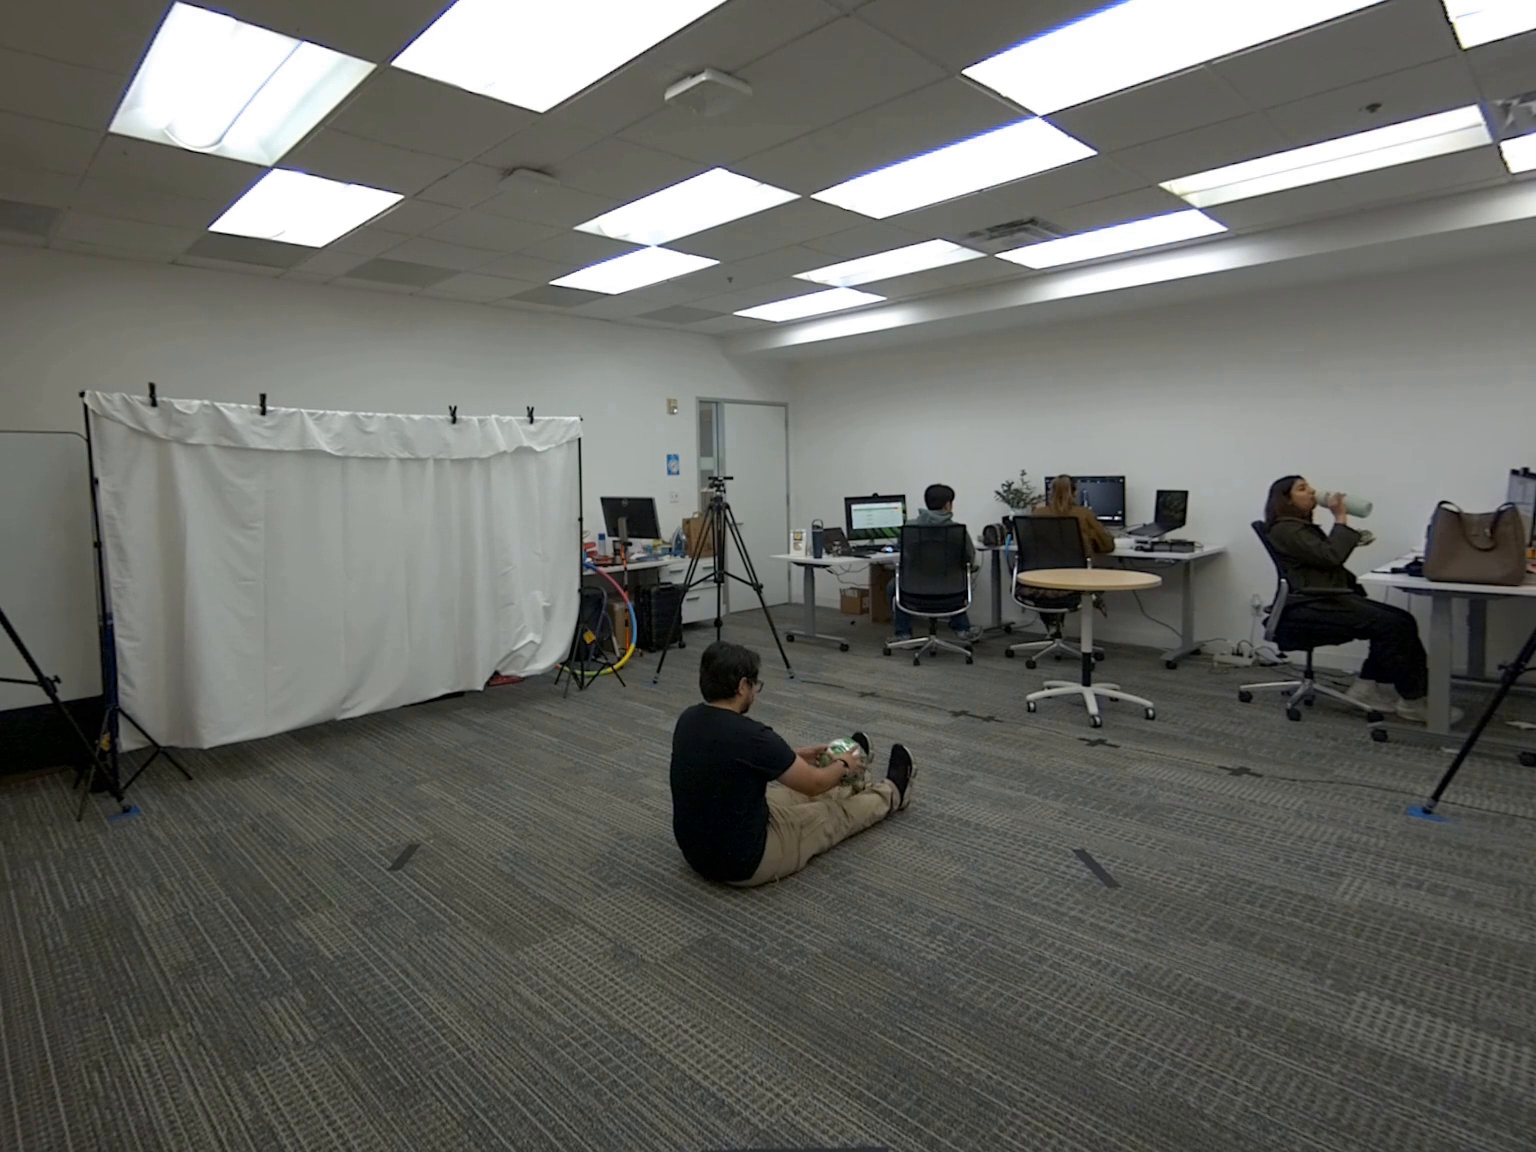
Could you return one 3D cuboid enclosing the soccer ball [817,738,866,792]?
[{"bbox_3d":[0.303,0.730,3.328,0.187,0.187,0.188,-1,4,-2],"label":"soccer ball"}]
